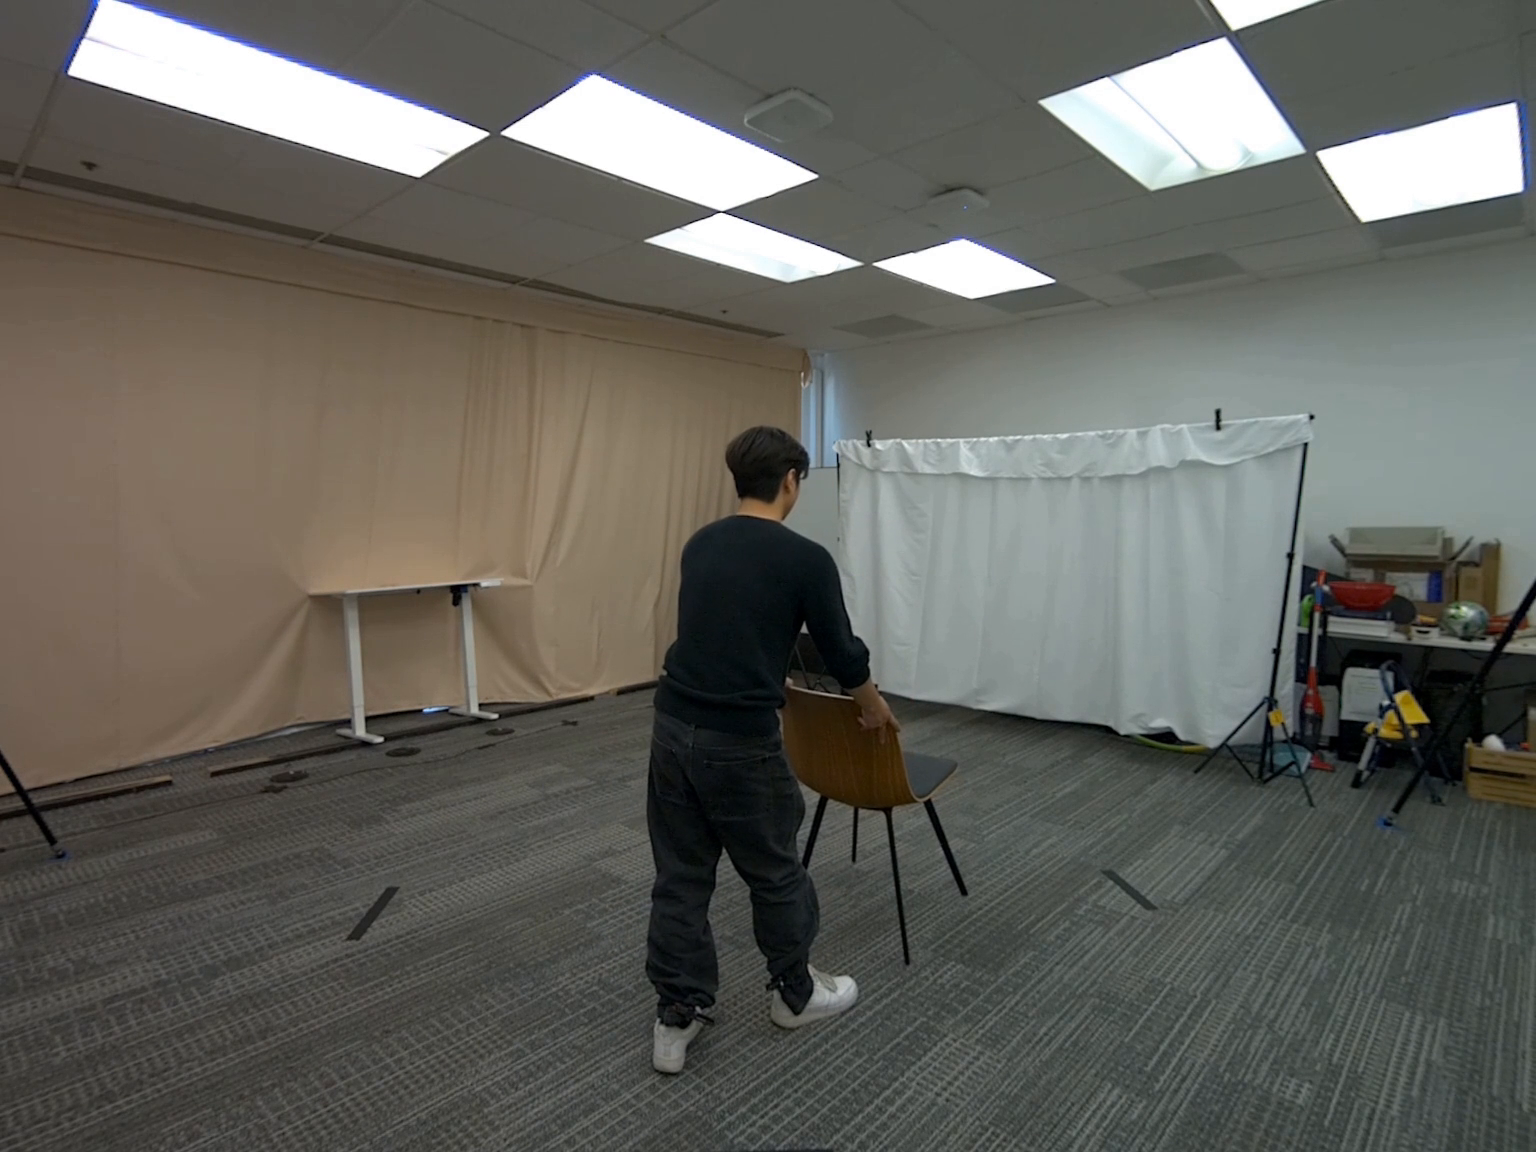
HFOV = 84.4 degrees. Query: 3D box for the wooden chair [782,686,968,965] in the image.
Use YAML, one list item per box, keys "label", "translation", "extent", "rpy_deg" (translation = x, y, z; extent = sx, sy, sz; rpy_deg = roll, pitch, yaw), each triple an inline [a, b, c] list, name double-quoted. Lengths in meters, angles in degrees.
- label: "wooden chair"
  translation: [0.353, 0.707, 2.800]
  extent: [0.493, 0.870, 0.511]
  rpy_deg: [2, 15, 38]
